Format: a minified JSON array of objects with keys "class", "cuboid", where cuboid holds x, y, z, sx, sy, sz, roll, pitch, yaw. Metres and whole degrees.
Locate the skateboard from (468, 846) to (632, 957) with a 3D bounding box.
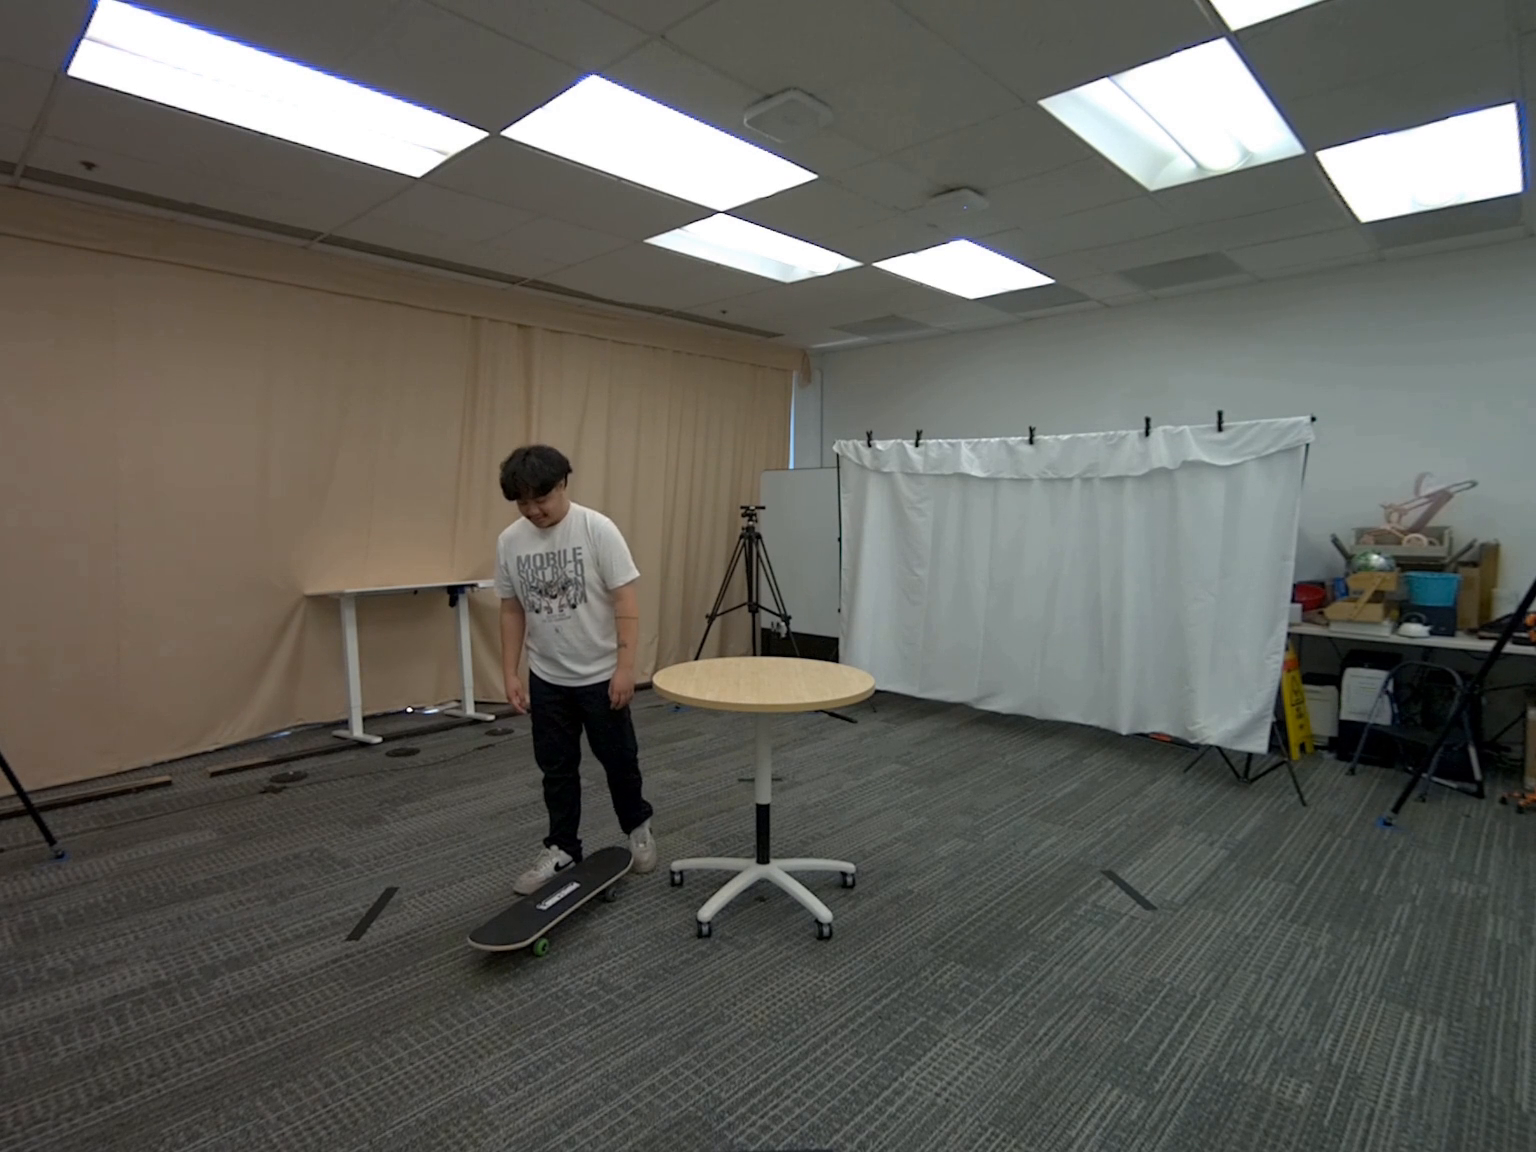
[{"class":"skateboard","cuboid":[-0.700,1.105,2.830,0.198,0.110,0.768,1,4,23]}]
